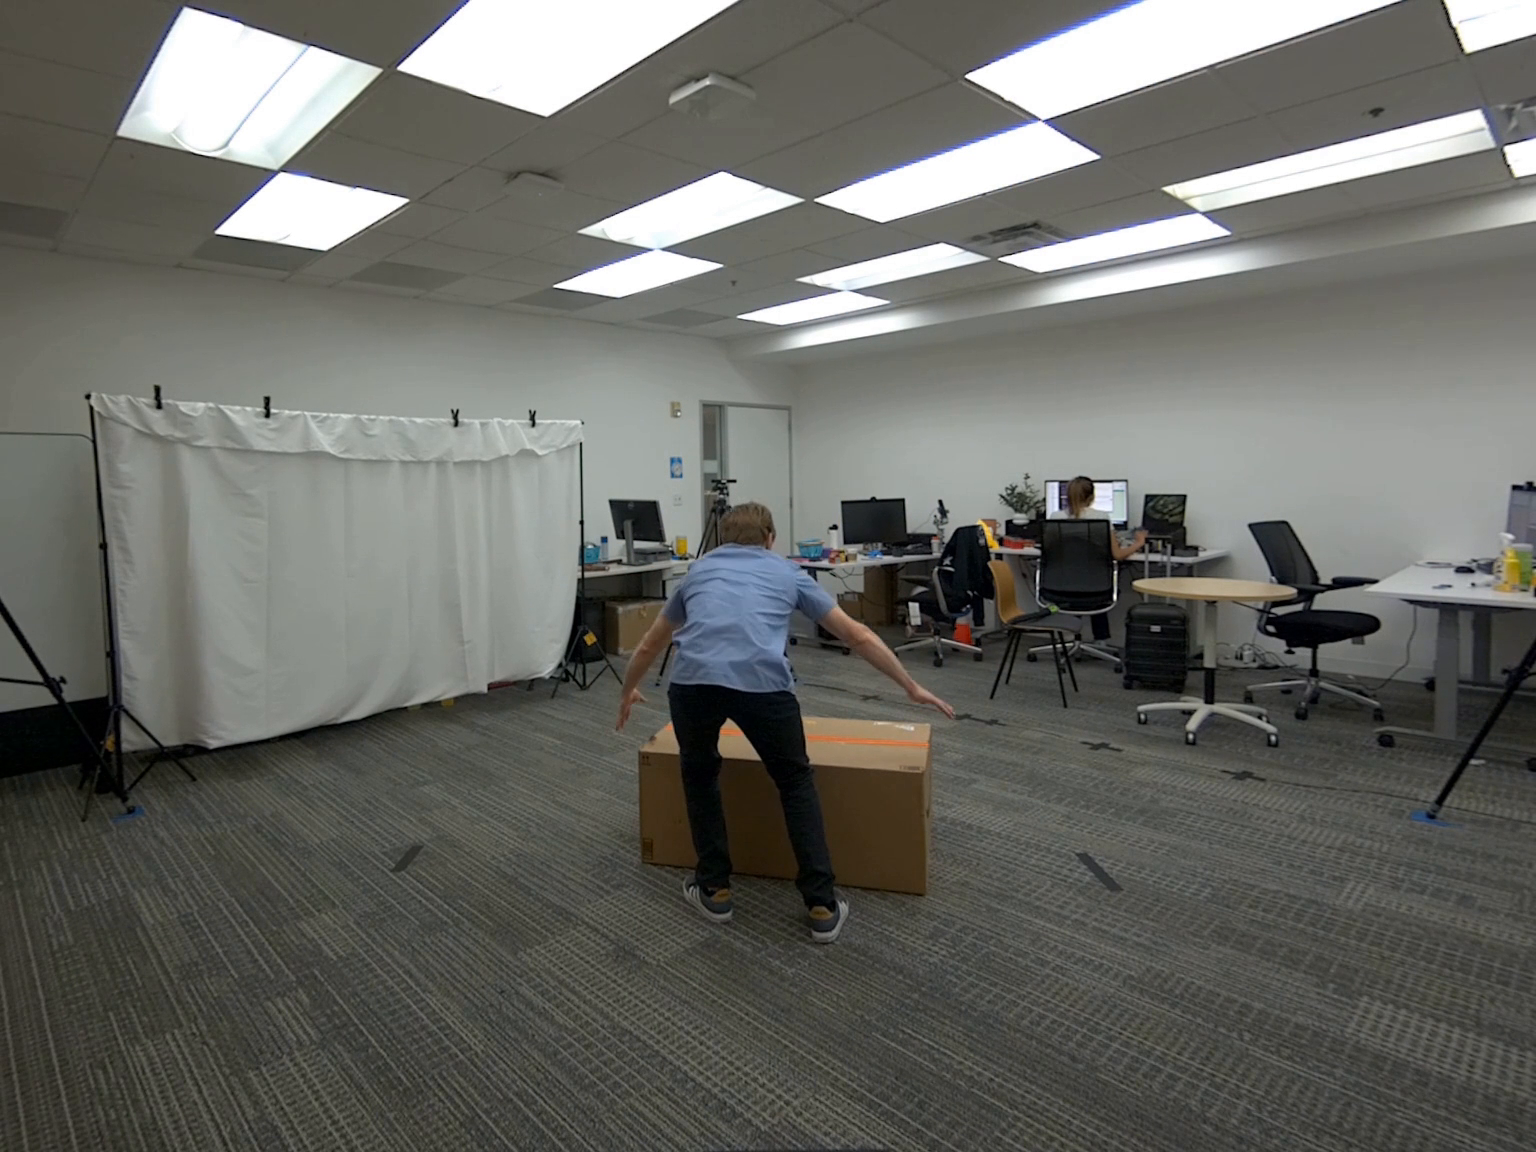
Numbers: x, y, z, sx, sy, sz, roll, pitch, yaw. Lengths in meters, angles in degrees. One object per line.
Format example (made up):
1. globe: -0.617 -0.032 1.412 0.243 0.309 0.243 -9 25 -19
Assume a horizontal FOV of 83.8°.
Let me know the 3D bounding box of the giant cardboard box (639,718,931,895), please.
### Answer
1. giant cardboard box: 0.084 0.813 3.246 1.043 0.444 0.578 1 7 15
